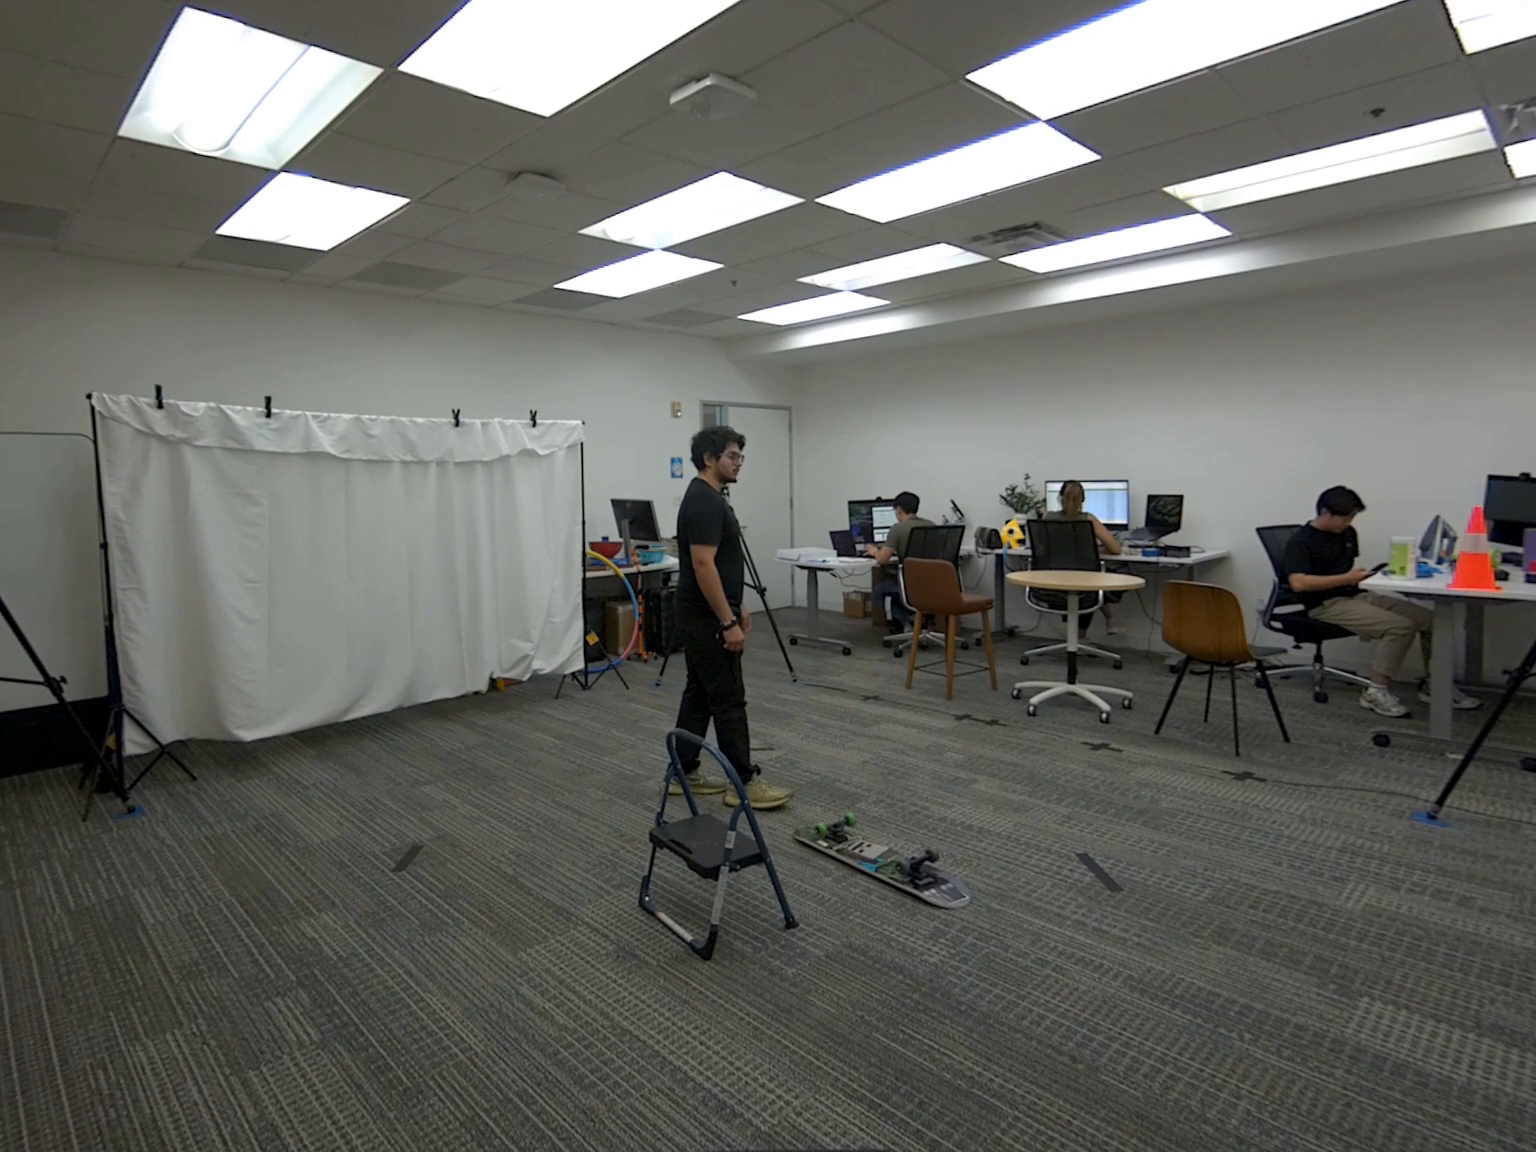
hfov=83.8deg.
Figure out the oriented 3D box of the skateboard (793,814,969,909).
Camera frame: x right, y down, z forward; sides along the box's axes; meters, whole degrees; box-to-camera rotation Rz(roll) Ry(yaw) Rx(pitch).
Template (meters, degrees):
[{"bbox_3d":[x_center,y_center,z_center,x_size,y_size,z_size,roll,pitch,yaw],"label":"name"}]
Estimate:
[{"bbox_3d":[0.387,0.990,3.086,0.188,0.110,0.809,-5,8,-39],"label":"skateboard"}]
